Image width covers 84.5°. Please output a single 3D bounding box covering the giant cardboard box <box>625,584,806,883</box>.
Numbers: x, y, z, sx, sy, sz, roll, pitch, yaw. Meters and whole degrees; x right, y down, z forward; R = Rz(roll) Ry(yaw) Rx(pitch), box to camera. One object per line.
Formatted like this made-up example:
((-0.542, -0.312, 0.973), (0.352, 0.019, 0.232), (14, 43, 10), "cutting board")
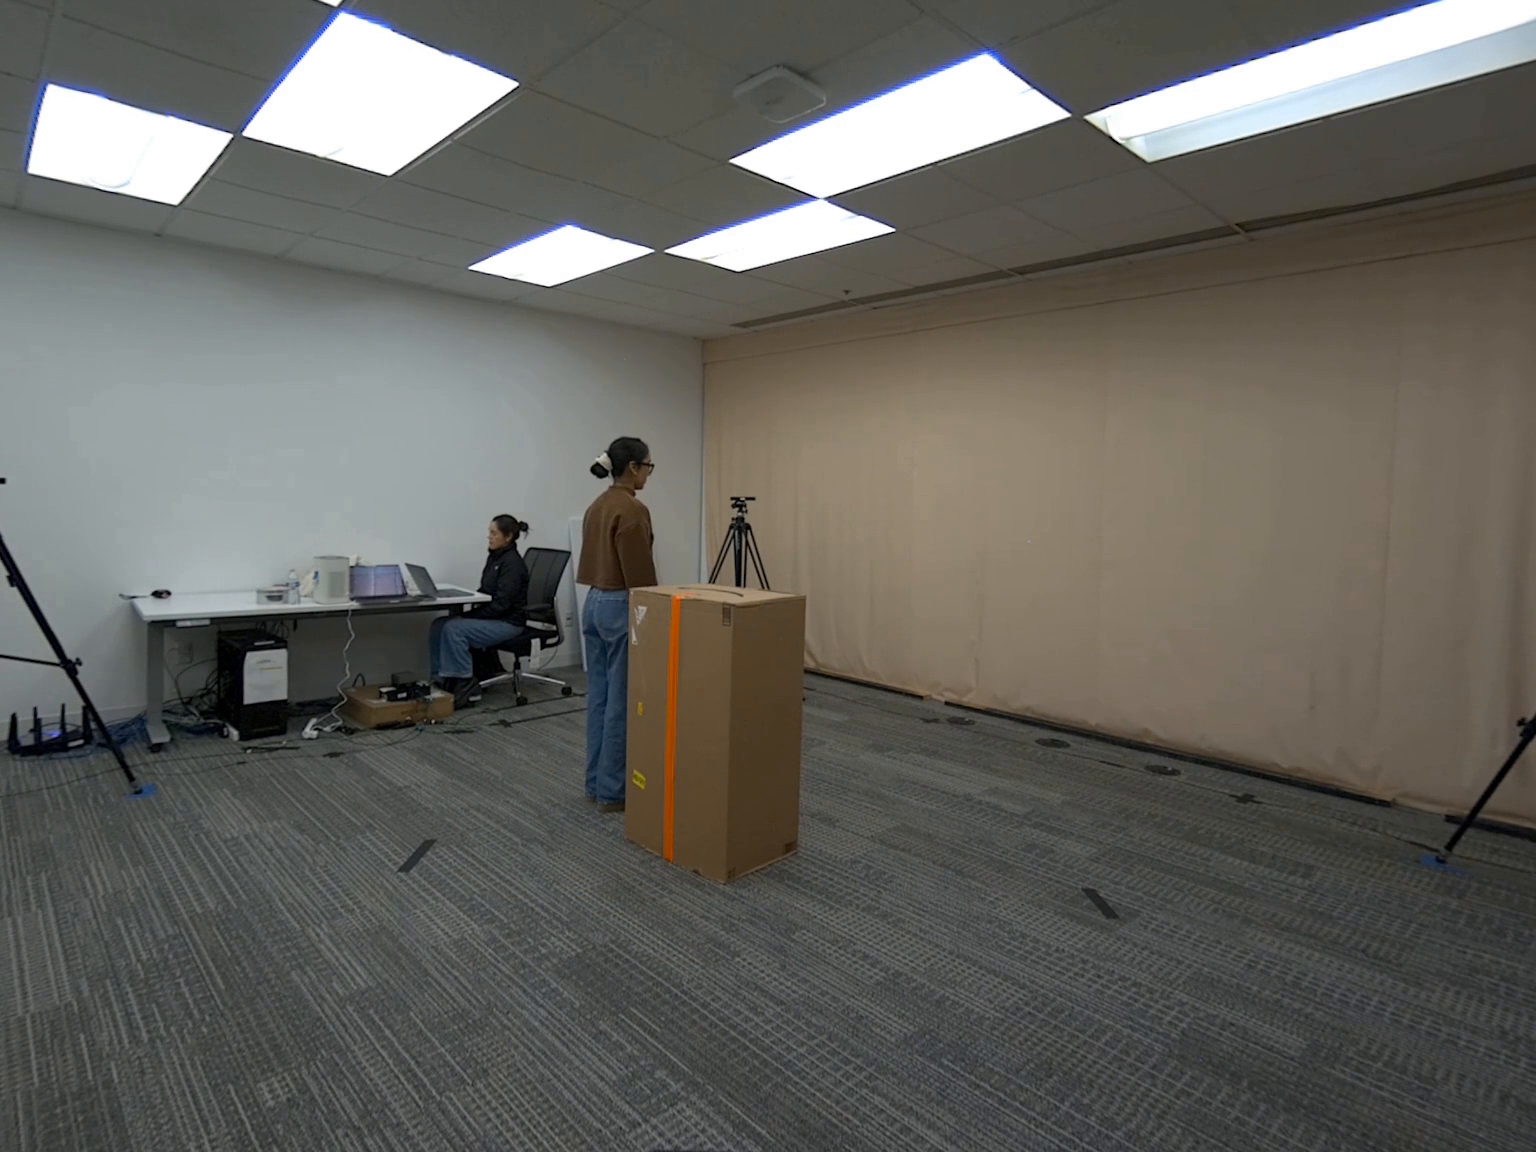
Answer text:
((-0.221, 0.574, 3.340), (0.592, 1.023, 0.416), (5, 5, 43), "giant cardboard box")
